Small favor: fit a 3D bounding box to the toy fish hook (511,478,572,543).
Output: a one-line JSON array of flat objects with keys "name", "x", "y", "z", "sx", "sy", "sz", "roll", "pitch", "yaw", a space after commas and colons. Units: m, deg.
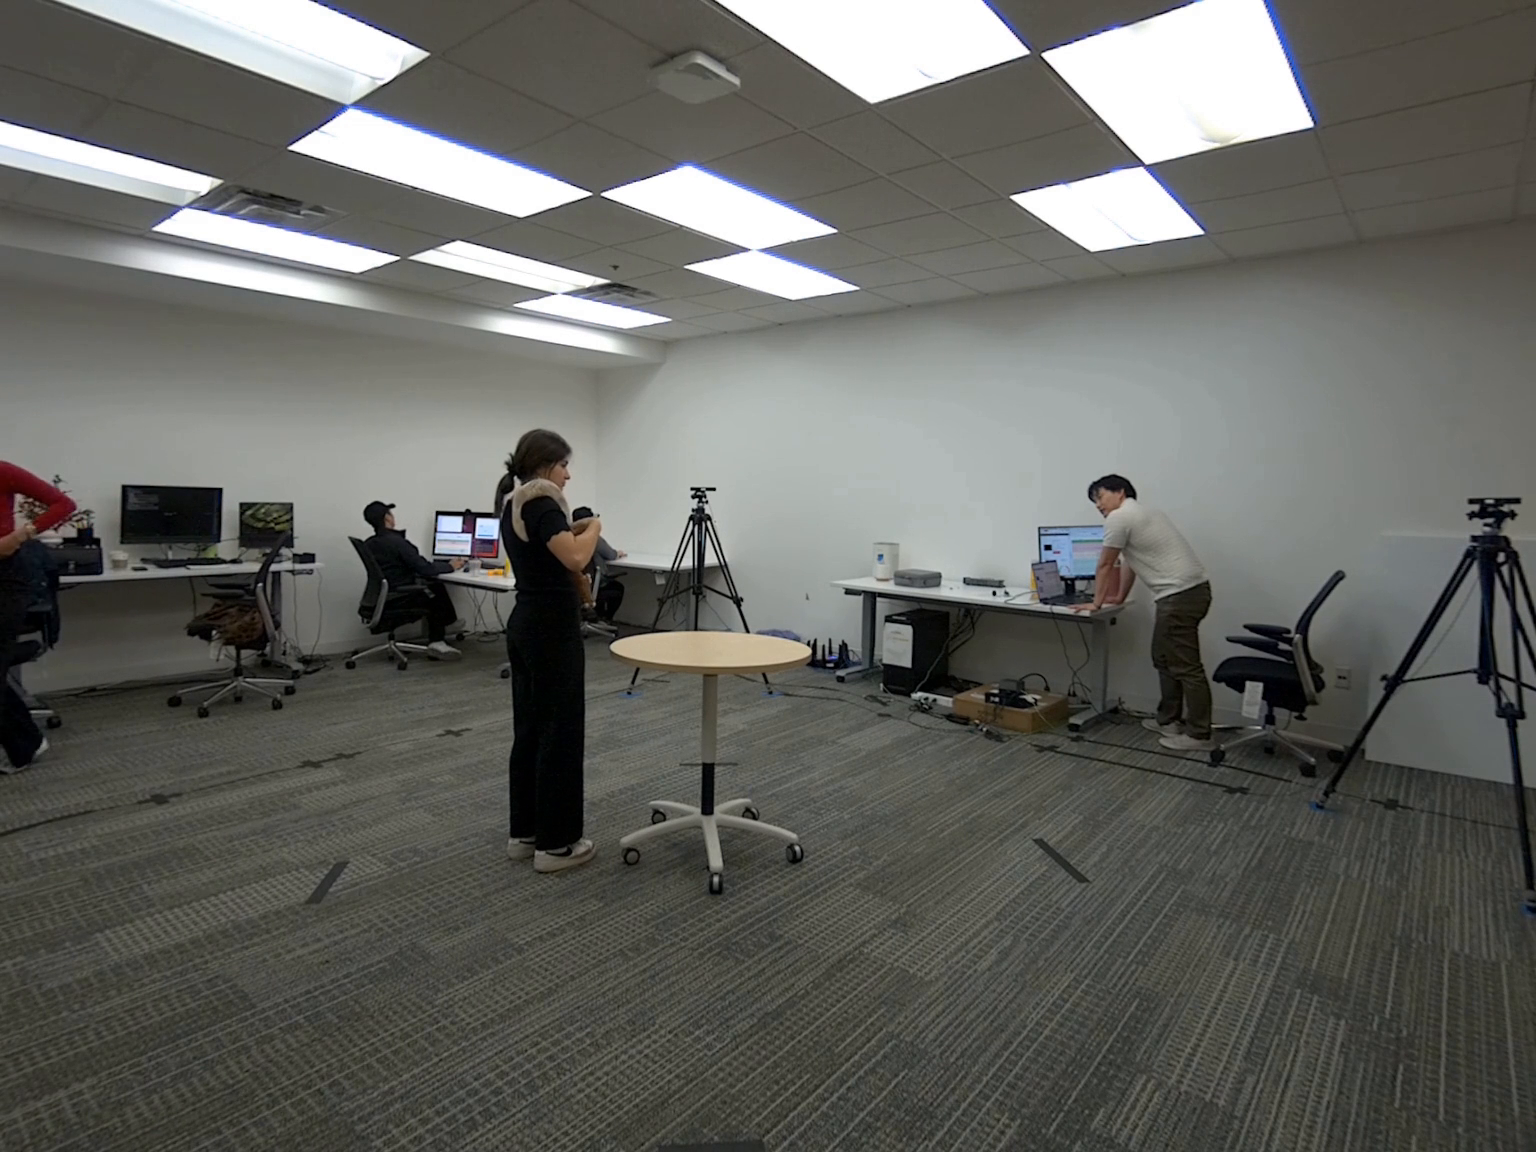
[{"name": "toy fish hook", "x": -0.780, "y": -0.095, "z": 3.011, "sx": 0.220, "sy": 0.508, "sz": 0.049, "roll": -19, "pitch": -2, "yaw": -31}]
